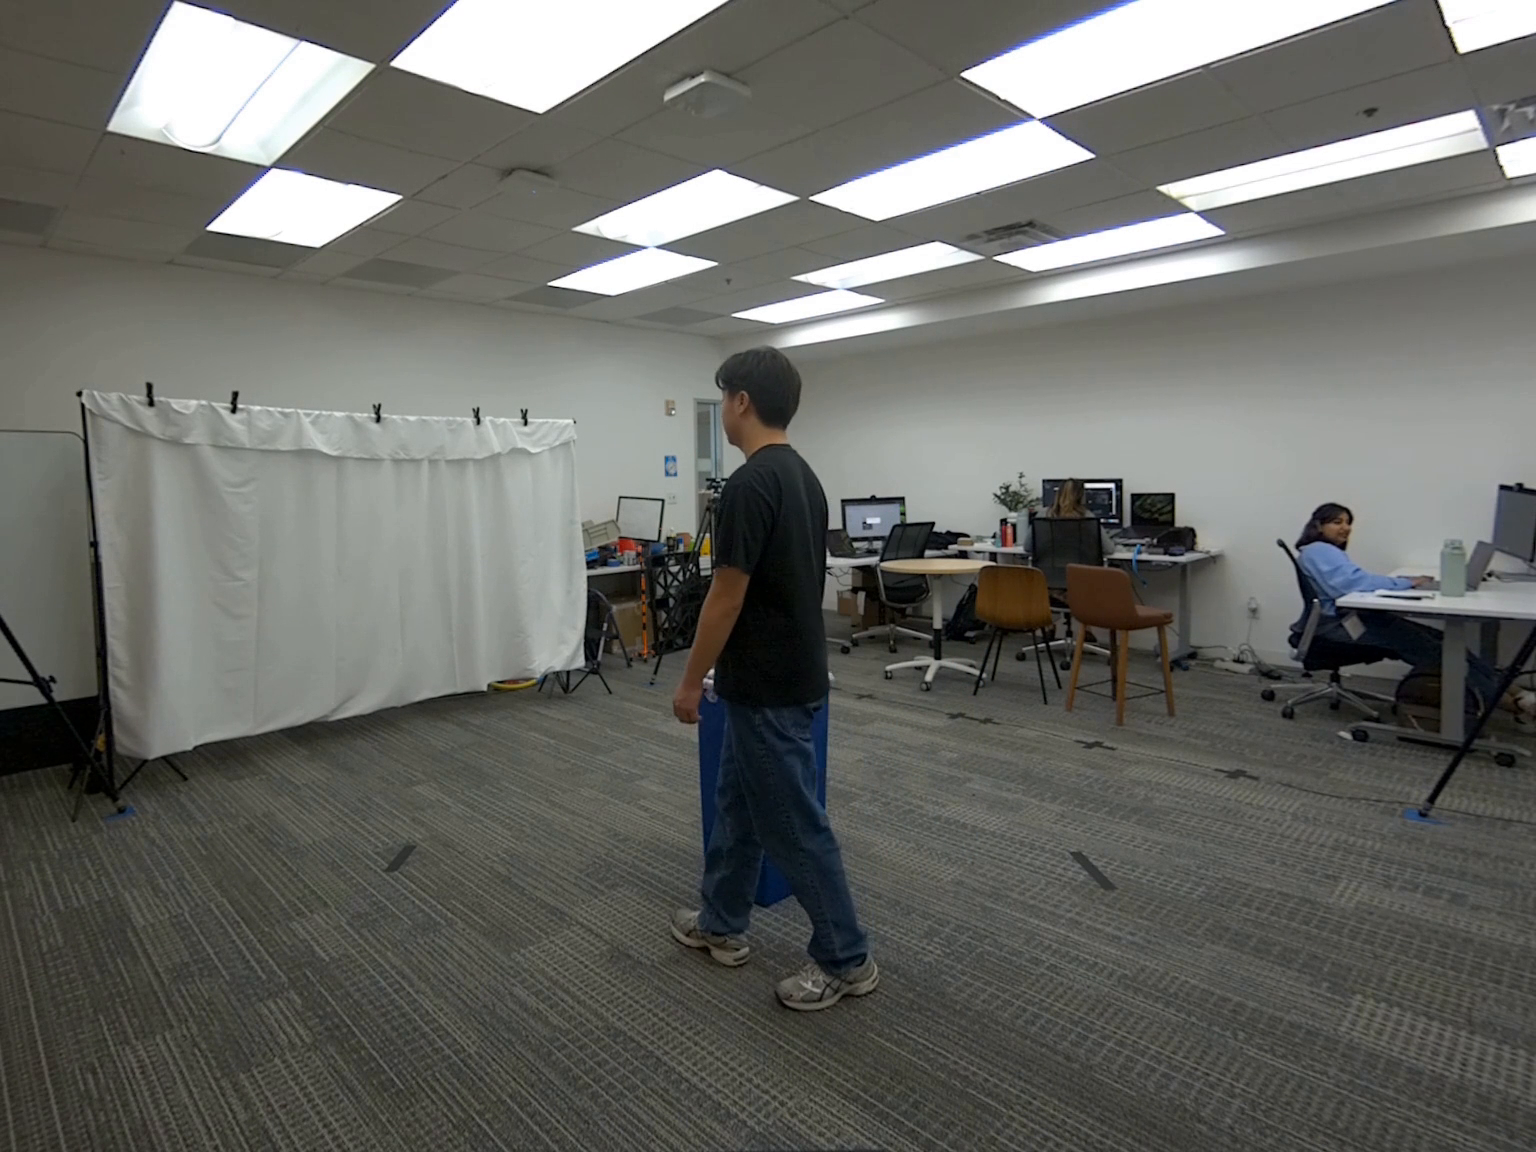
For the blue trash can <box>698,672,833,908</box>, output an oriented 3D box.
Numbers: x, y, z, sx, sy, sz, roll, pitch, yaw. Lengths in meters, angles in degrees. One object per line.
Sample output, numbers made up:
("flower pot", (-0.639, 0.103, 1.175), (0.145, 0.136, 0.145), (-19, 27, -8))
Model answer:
("blue trash can", (-0.007, 0.699, 2.970), (0.364, 0.711, 0.390), (-5, 6, -43))
